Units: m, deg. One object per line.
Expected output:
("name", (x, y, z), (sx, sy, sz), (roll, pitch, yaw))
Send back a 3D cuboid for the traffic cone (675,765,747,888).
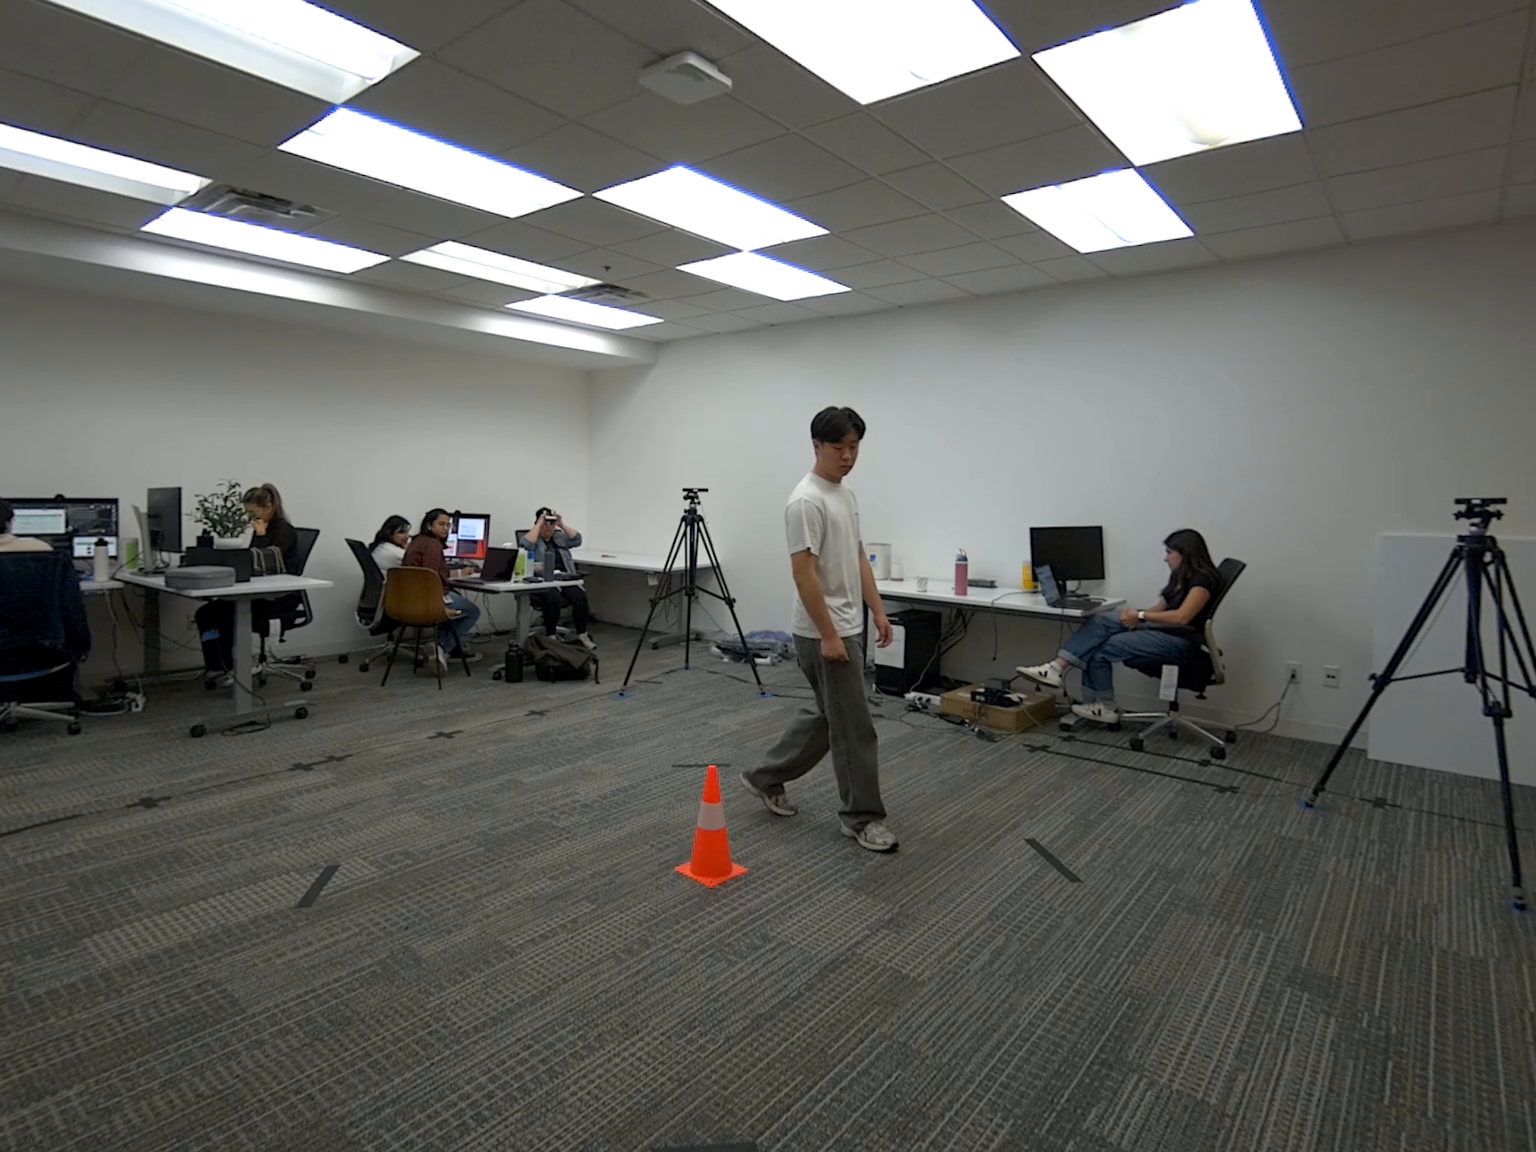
("traffic cone", (-0.209, 0.880, 3.103), (0.210, 0.383, 0.199), (2, 3, 42))
